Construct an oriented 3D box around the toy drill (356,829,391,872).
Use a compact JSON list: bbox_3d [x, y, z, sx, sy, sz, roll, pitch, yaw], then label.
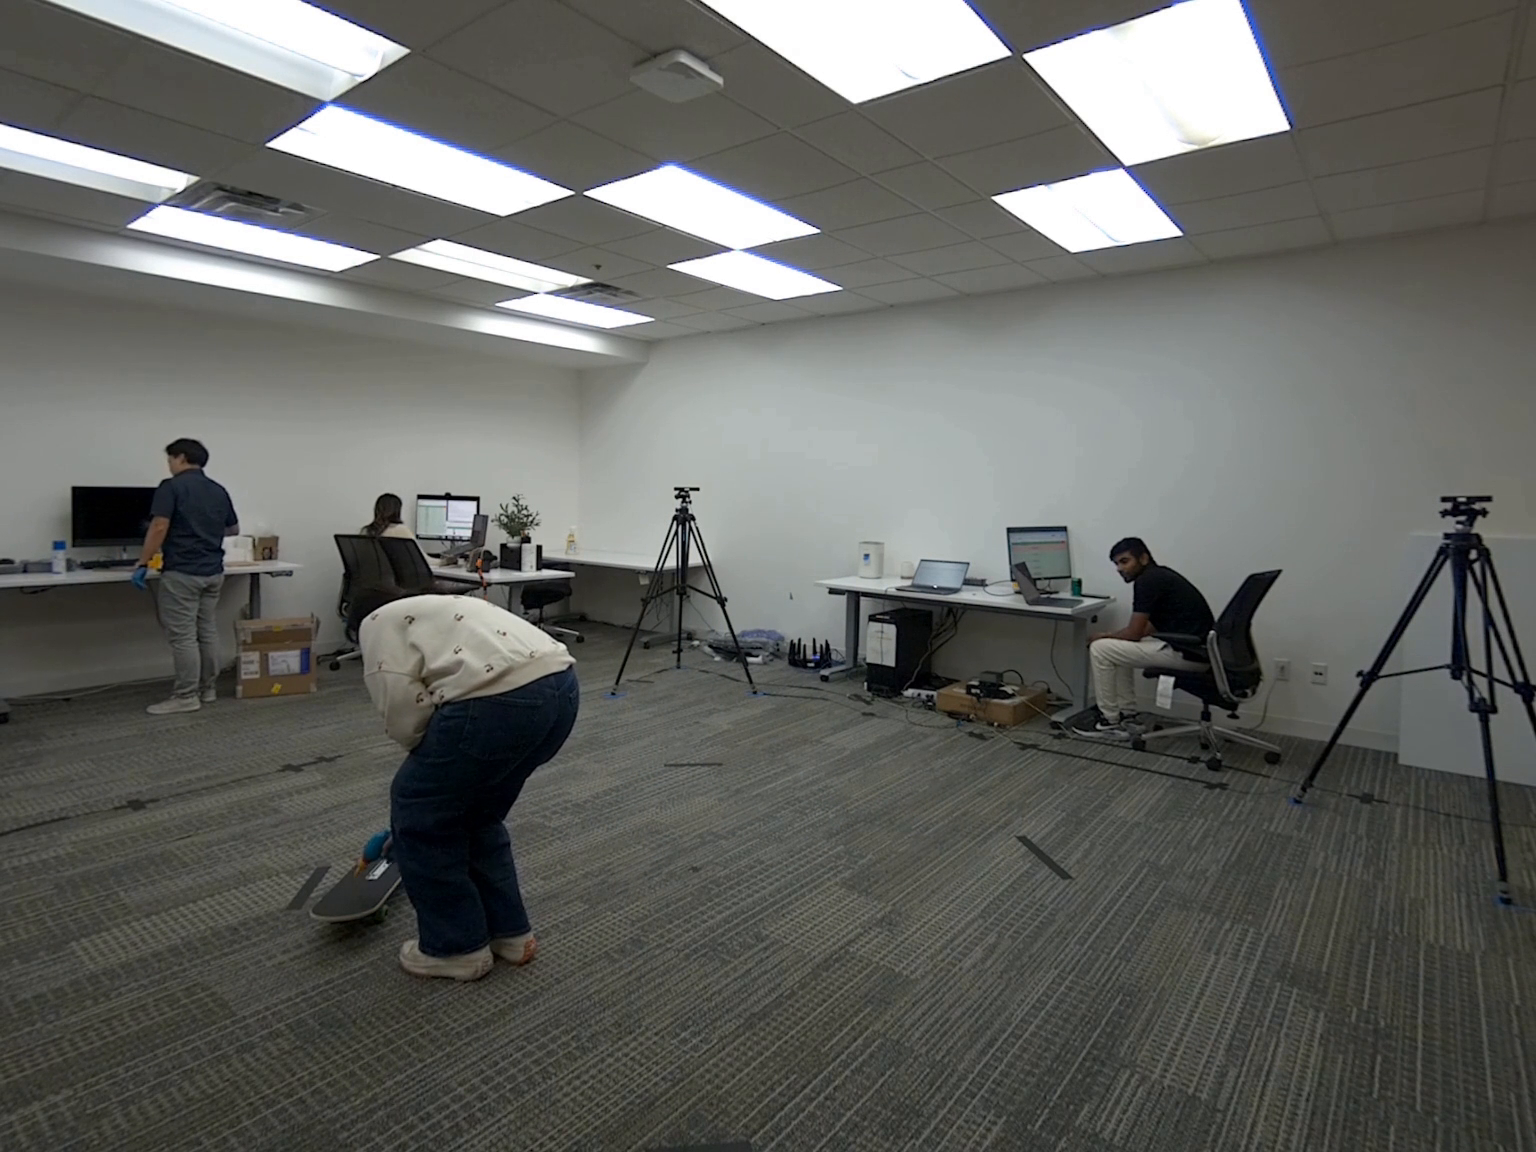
[{"bbox_3d":[-1.244,0.889,2.680,0.151,0.171,0.058,15,-19,35],"label":"toy drill"}]
